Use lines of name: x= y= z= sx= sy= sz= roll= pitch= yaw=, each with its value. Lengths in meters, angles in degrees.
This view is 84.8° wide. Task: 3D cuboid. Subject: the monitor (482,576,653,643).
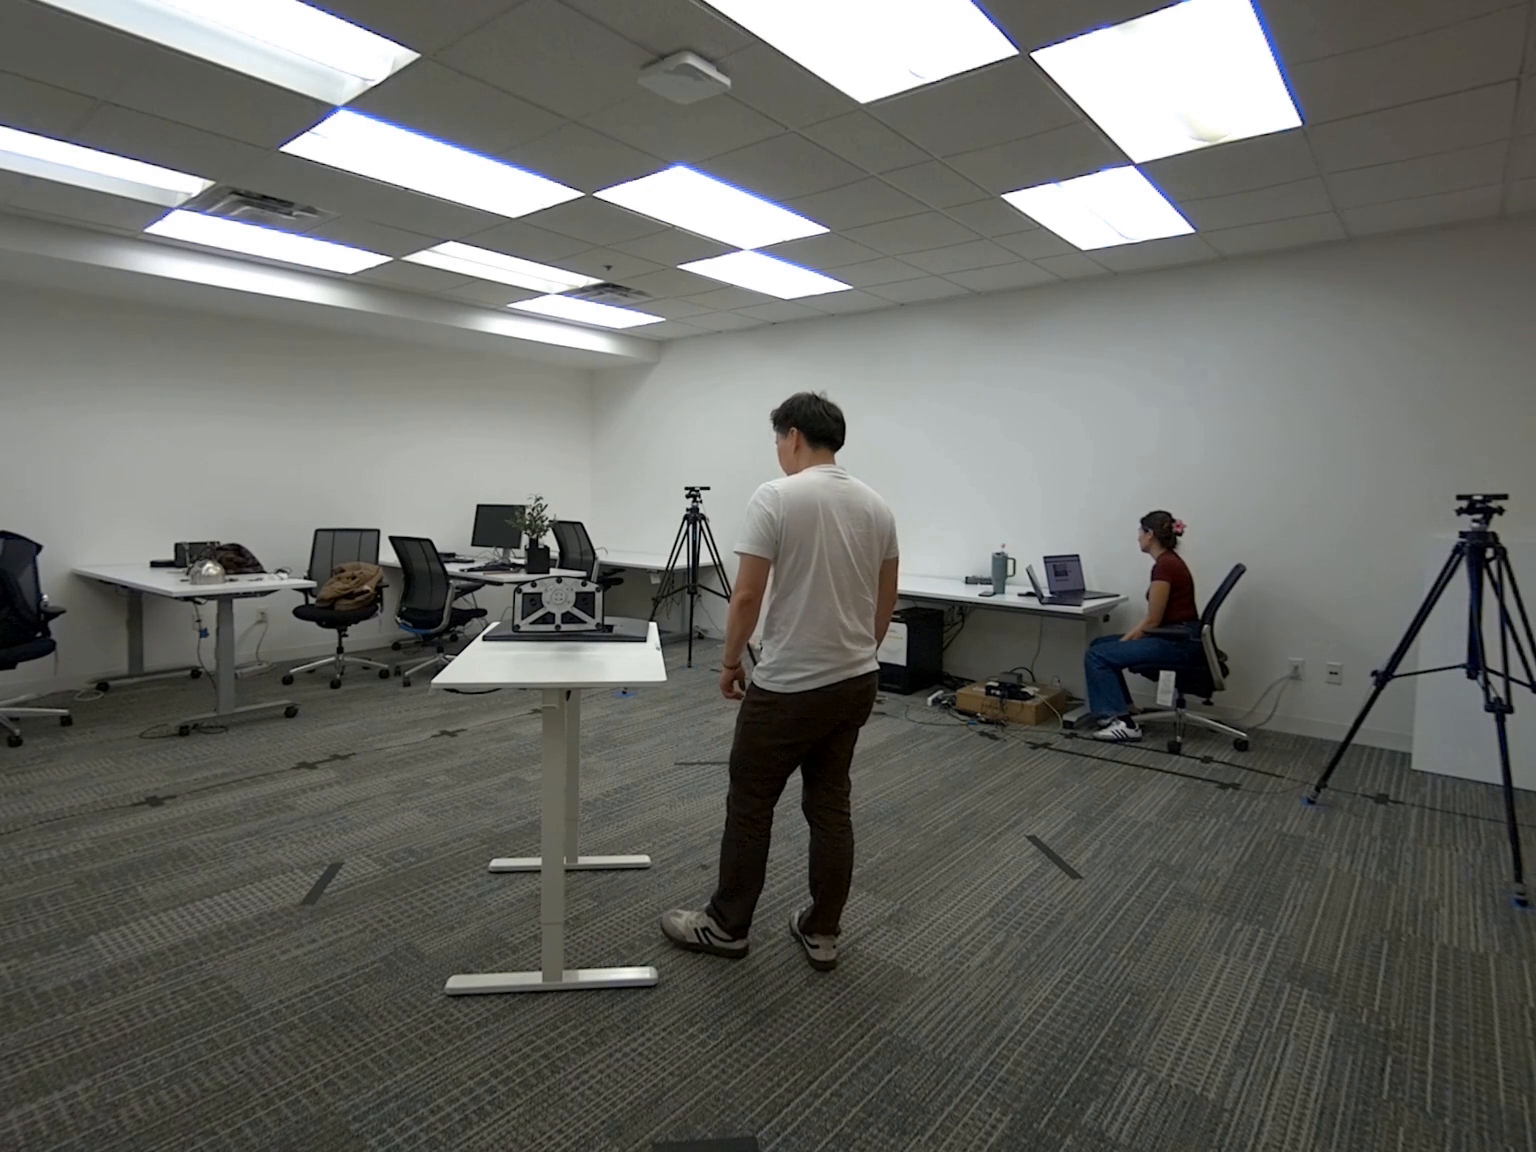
monitor: x=-0.695 y=0.143 z=2.862 sx=0.537 sy=0.189 sz=0.518 roll=3 pitch=-13 yaw=-4
